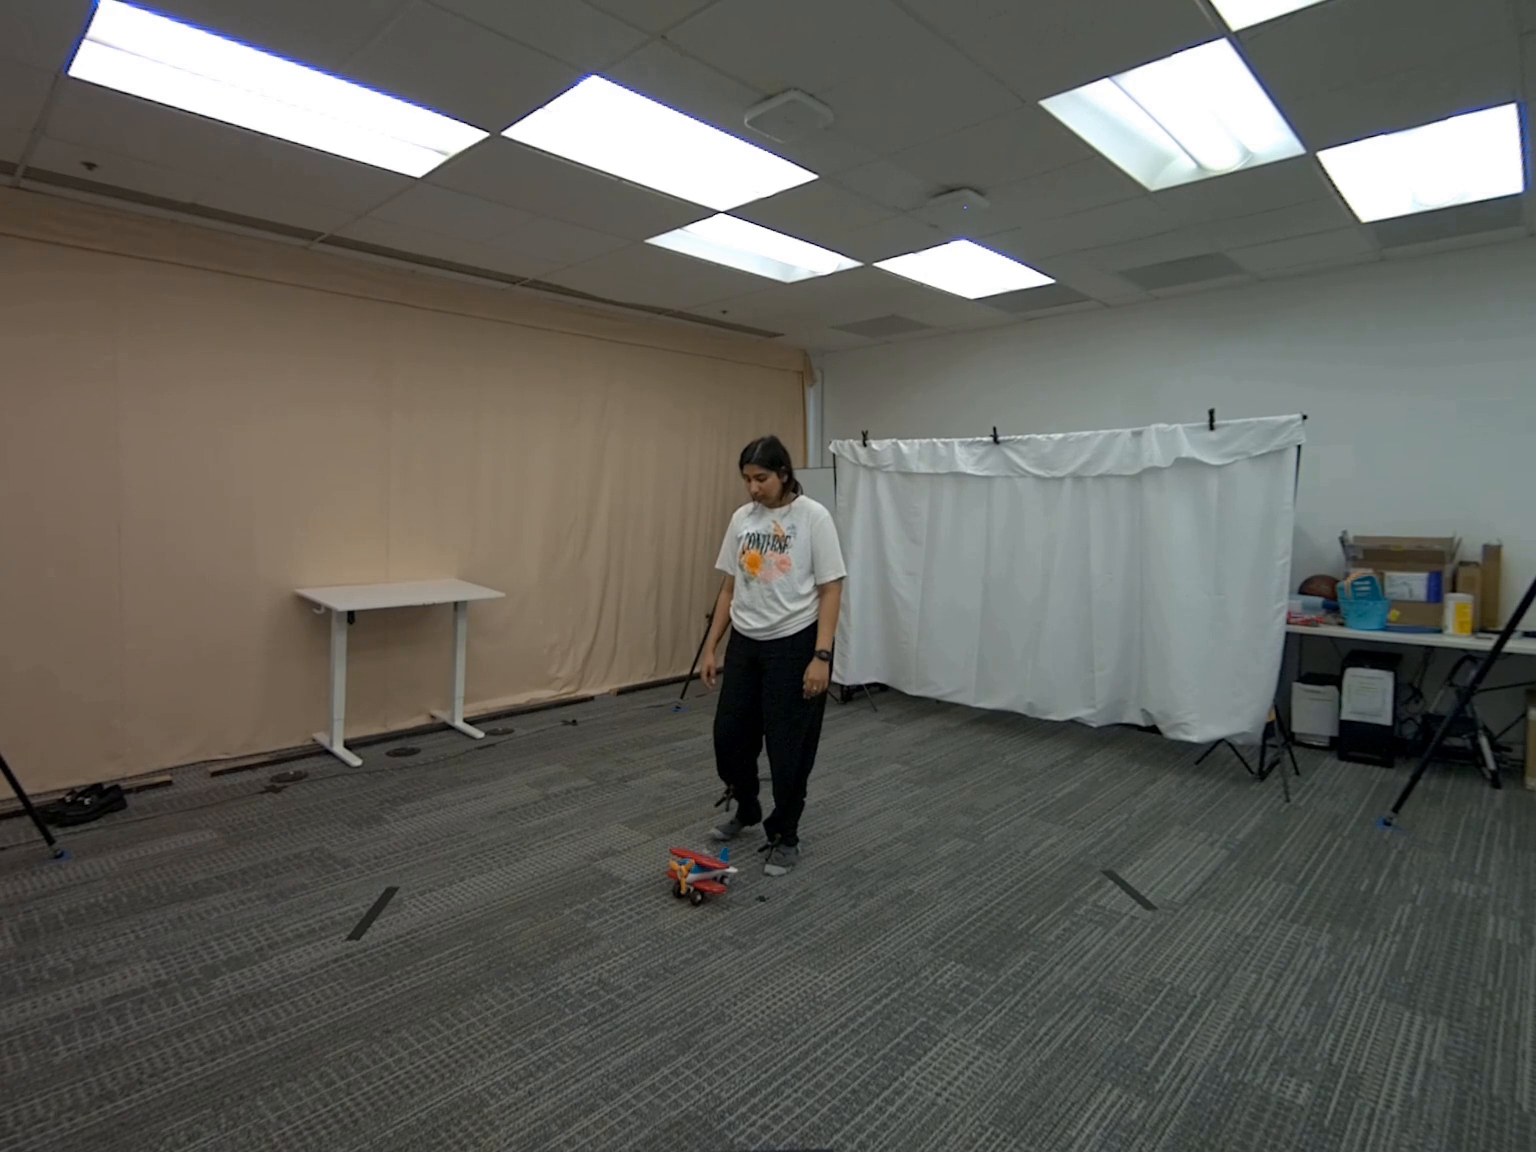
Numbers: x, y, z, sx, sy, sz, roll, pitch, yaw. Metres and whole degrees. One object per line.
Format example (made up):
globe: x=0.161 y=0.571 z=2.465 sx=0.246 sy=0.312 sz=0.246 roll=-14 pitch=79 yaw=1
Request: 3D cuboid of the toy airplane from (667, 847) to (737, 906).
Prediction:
toy airplane: x=-0.245 y=1.063 z=3.040 sx=0.254 sy=0.156 sz=0.257 roll=0 pitch=5 yaw=10
